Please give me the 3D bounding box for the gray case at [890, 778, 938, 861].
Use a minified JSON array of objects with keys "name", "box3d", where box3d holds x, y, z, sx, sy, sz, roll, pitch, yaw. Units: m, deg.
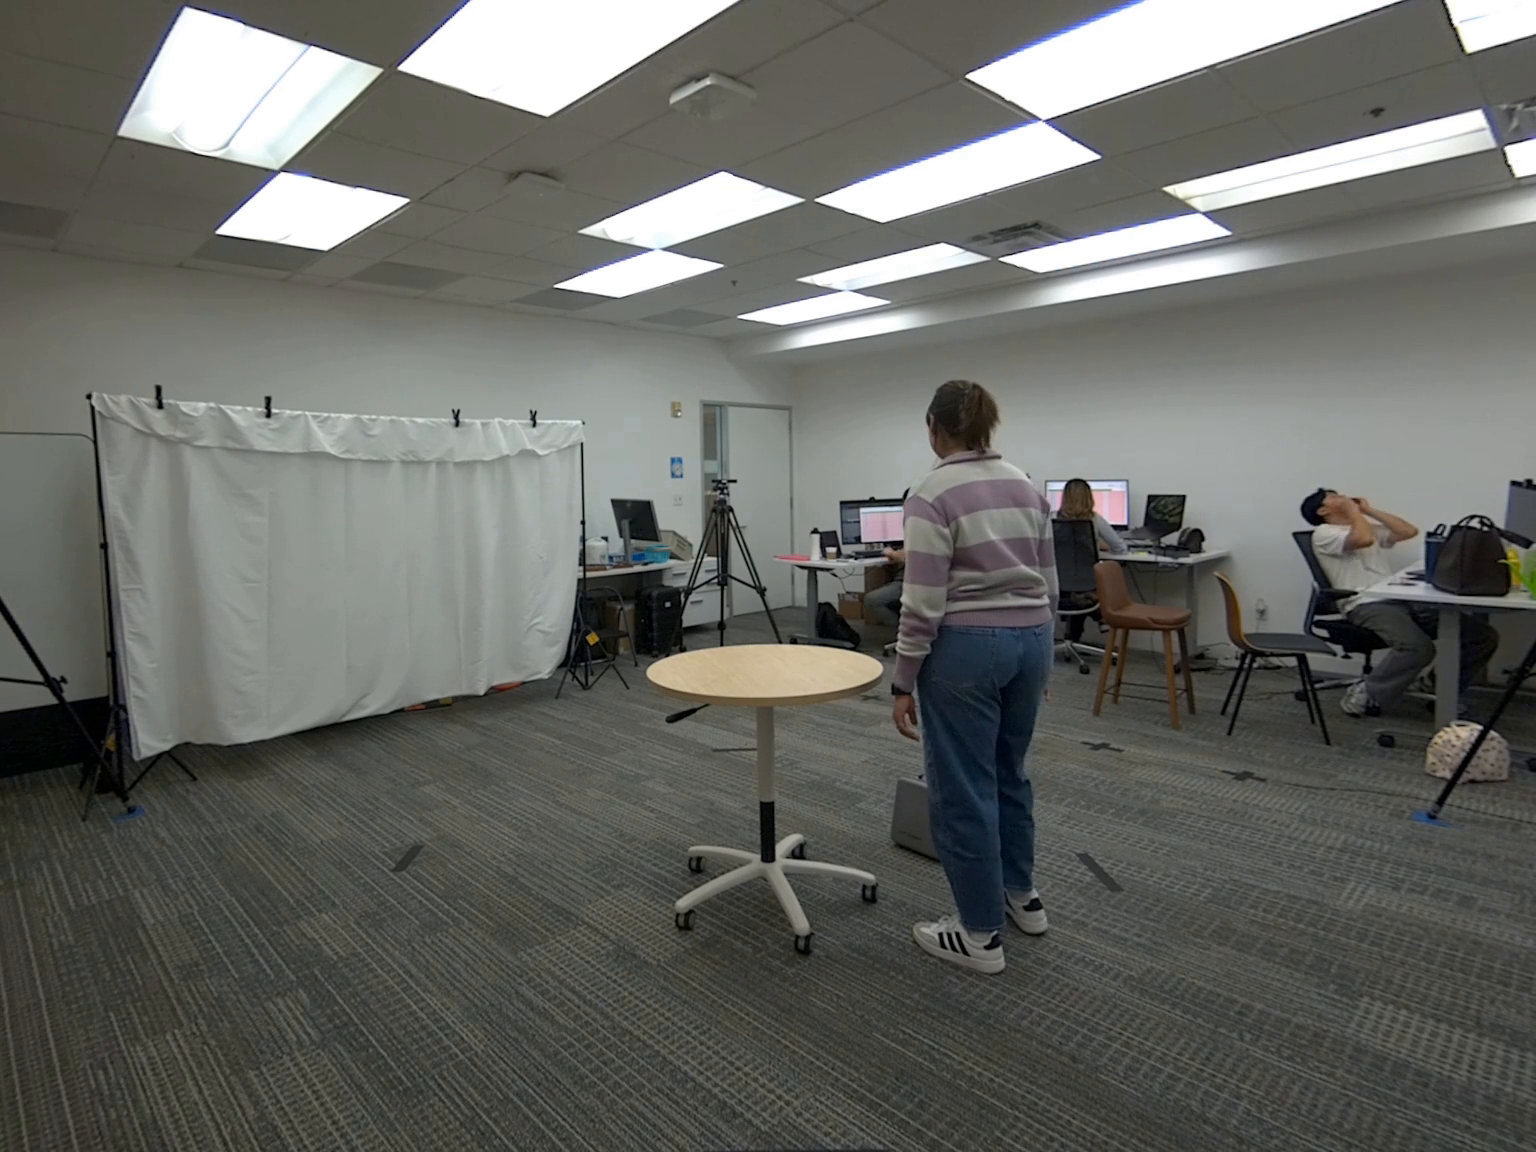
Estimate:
[{"name":"gray case","box3d":[0.596,0.895,3.191,0.101,0.261,0.265,9,-2,-40]}]
